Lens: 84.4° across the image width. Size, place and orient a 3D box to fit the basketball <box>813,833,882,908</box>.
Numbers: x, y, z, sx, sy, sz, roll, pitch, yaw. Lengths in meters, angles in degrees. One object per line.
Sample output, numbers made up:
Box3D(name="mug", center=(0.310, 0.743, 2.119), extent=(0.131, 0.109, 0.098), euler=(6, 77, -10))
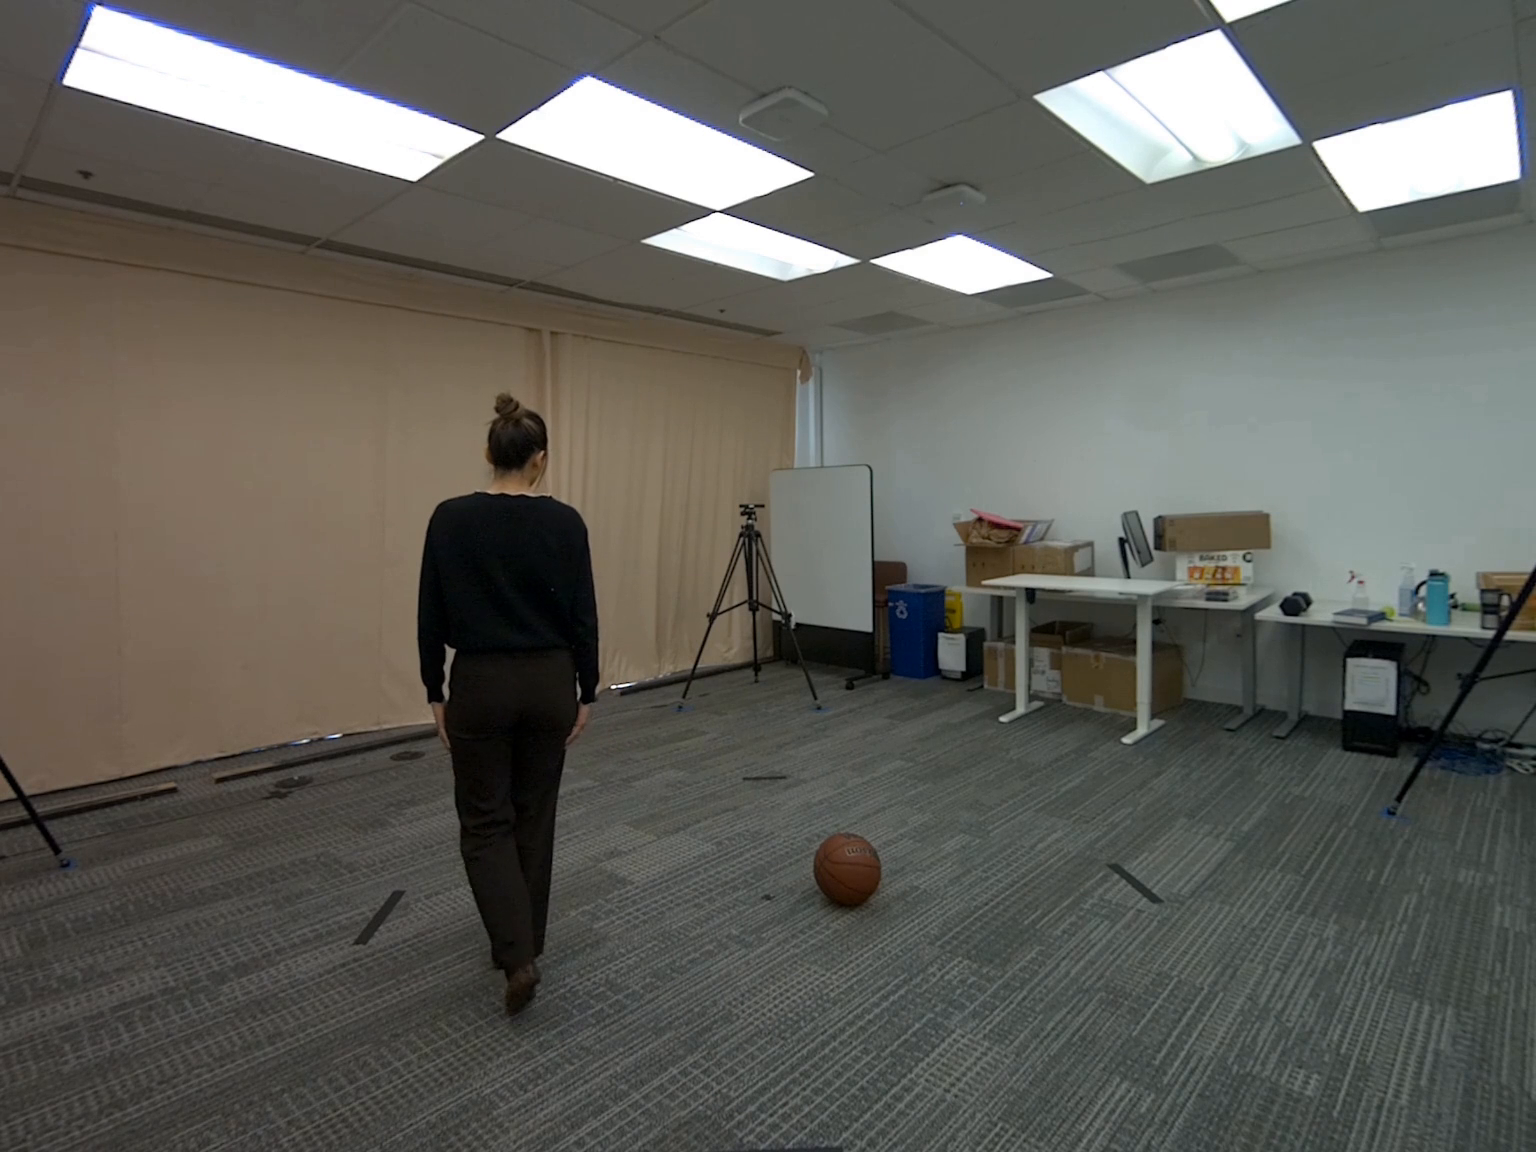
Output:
Box3D(name="basketball", center=(0.279, 1.019, 2.936), extent=(0.236, 0.235, 0.237), euler=(-1, 4, -2))
